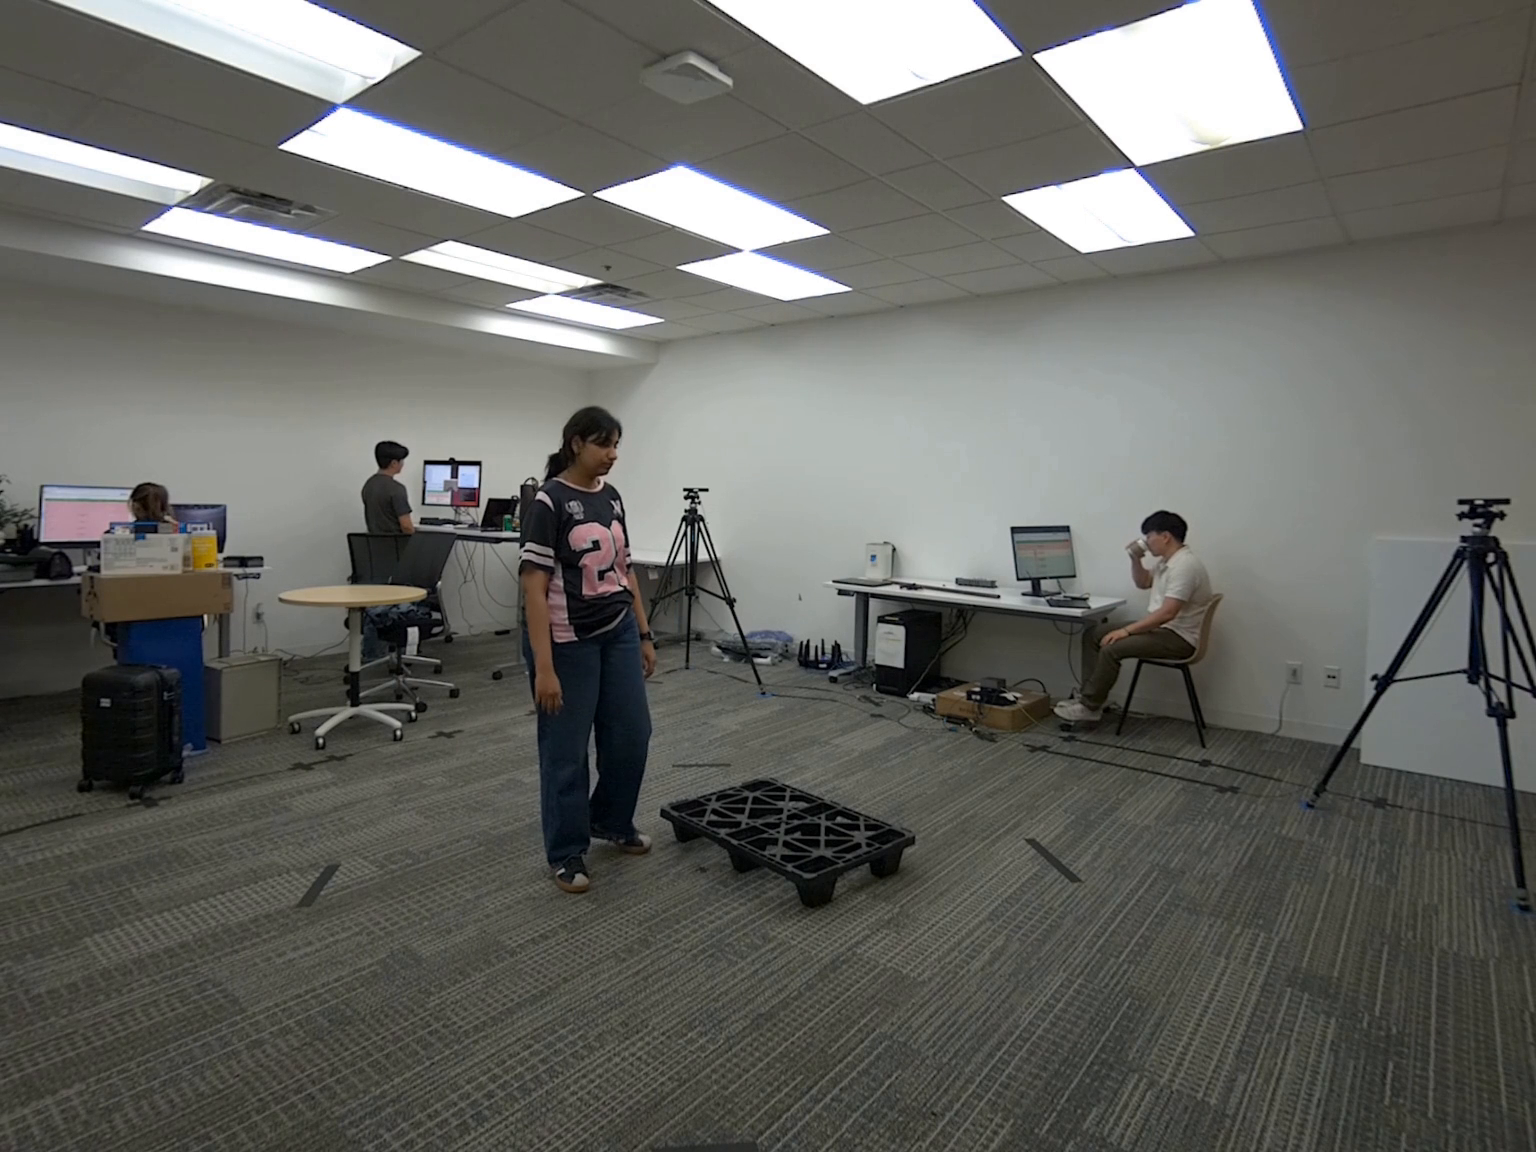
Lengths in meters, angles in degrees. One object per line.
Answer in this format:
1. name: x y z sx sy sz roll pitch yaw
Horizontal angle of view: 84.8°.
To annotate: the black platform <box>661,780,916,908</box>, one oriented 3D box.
1. black platform: 0.051 0.996 3.253 0.586 0.143 0.834 -3 7 -43
